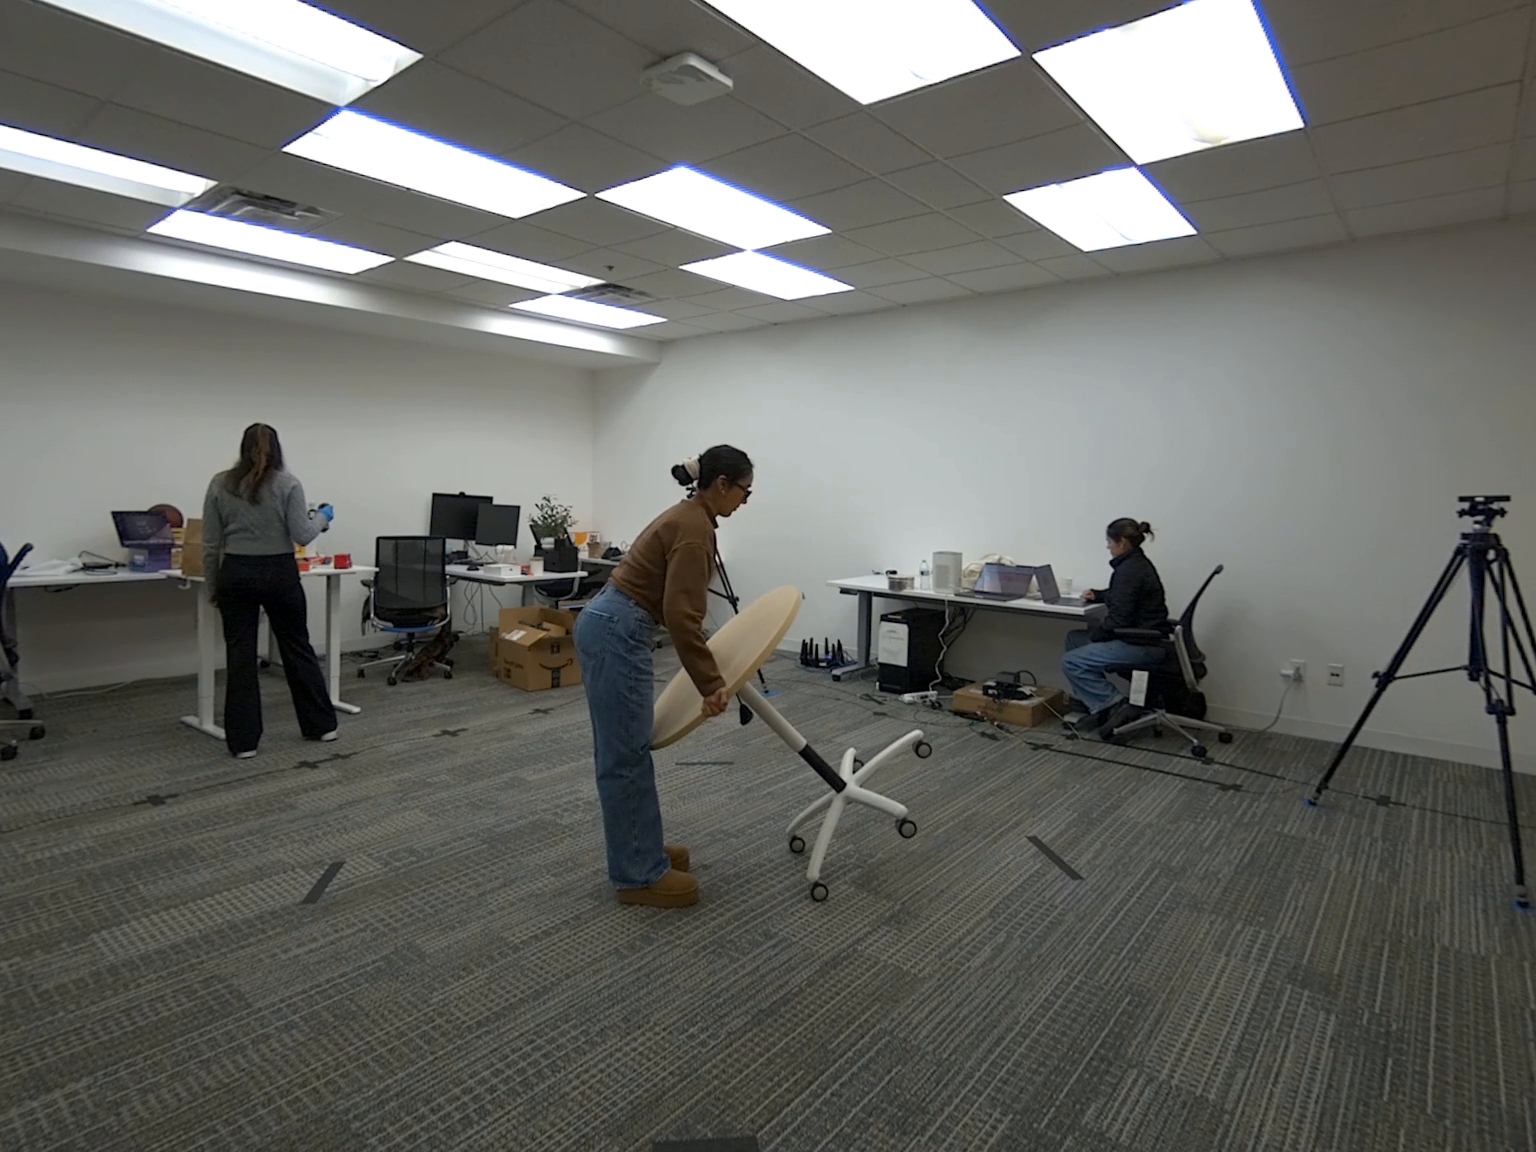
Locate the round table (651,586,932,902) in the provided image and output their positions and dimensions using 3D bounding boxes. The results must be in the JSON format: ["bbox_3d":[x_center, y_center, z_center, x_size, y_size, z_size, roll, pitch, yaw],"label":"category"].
[{"bbox_3d":[0.095,0.591,3.048,0.764,0.786,0.772,-43,9,6],"label":"round table"}]
